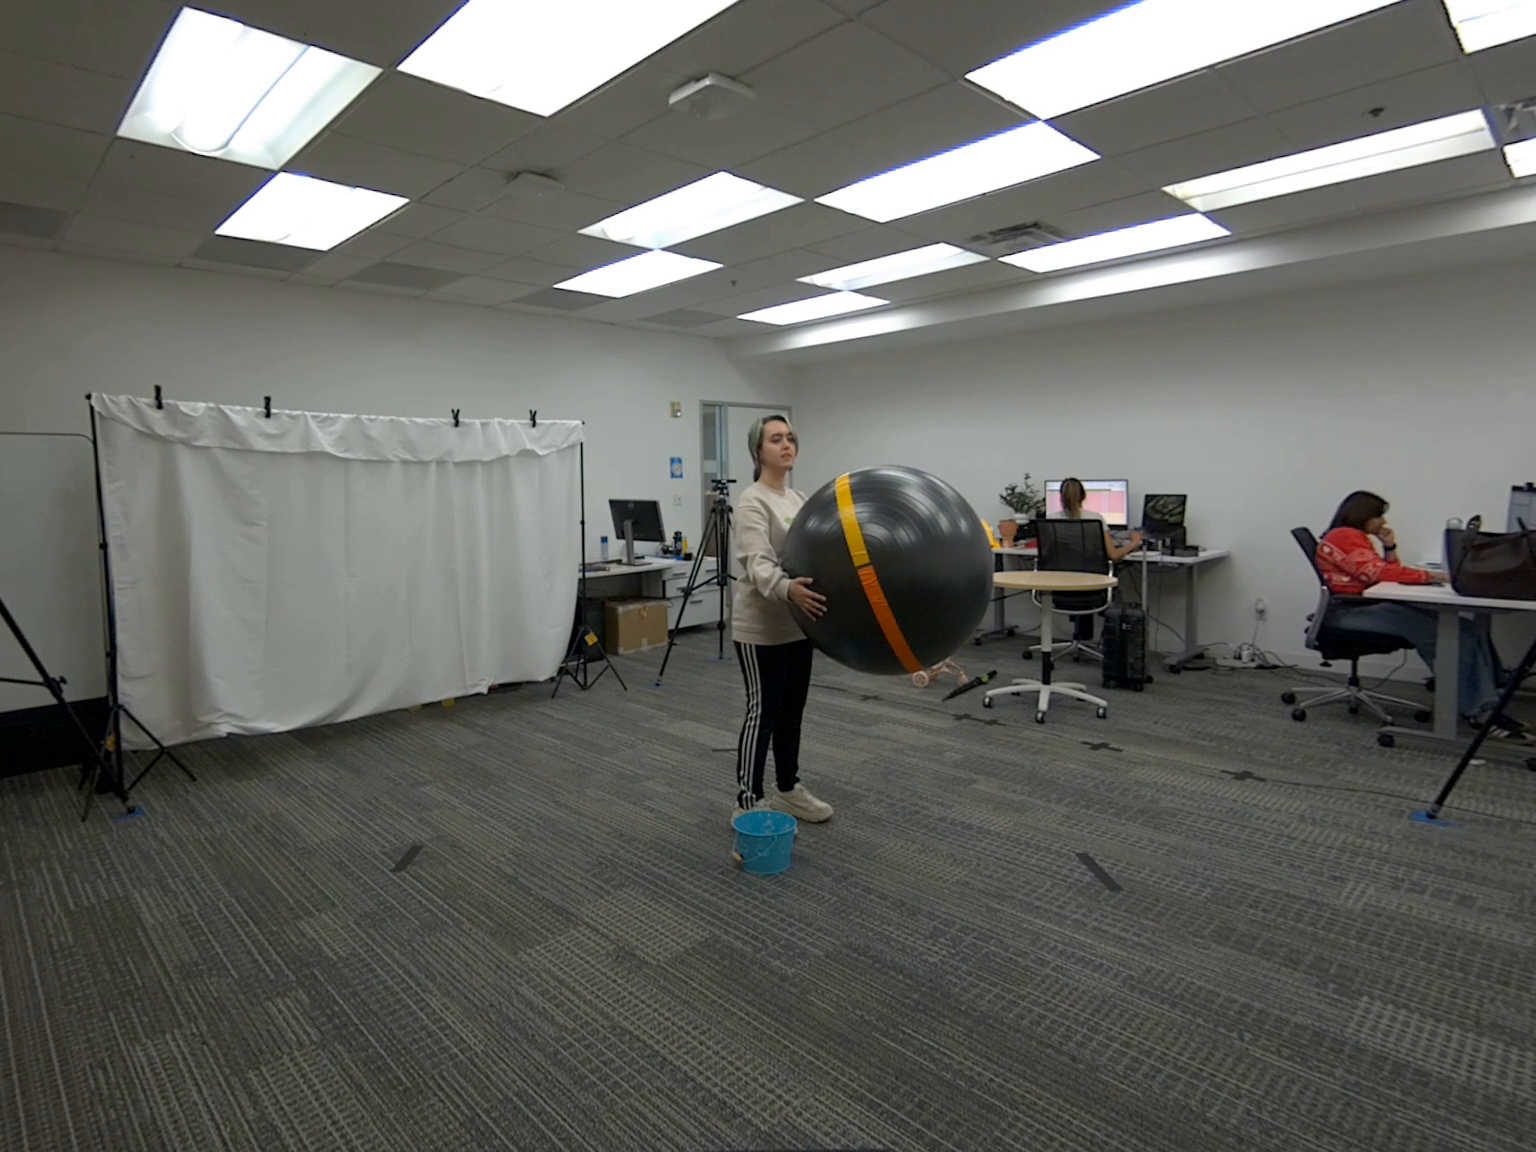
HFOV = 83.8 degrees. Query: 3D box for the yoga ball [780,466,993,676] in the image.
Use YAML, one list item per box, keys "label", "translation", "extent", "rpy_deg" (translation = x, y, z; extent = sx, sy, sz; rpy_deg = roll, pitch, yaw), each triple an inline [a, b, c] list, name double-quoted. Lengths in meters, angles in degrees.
- label: "yoga ball"
  translation: [0.437, -0.015, 3.098]
  extent: [0.757, 0.755, 0.762]
  rpy_deg: [-1, 5, -2]
